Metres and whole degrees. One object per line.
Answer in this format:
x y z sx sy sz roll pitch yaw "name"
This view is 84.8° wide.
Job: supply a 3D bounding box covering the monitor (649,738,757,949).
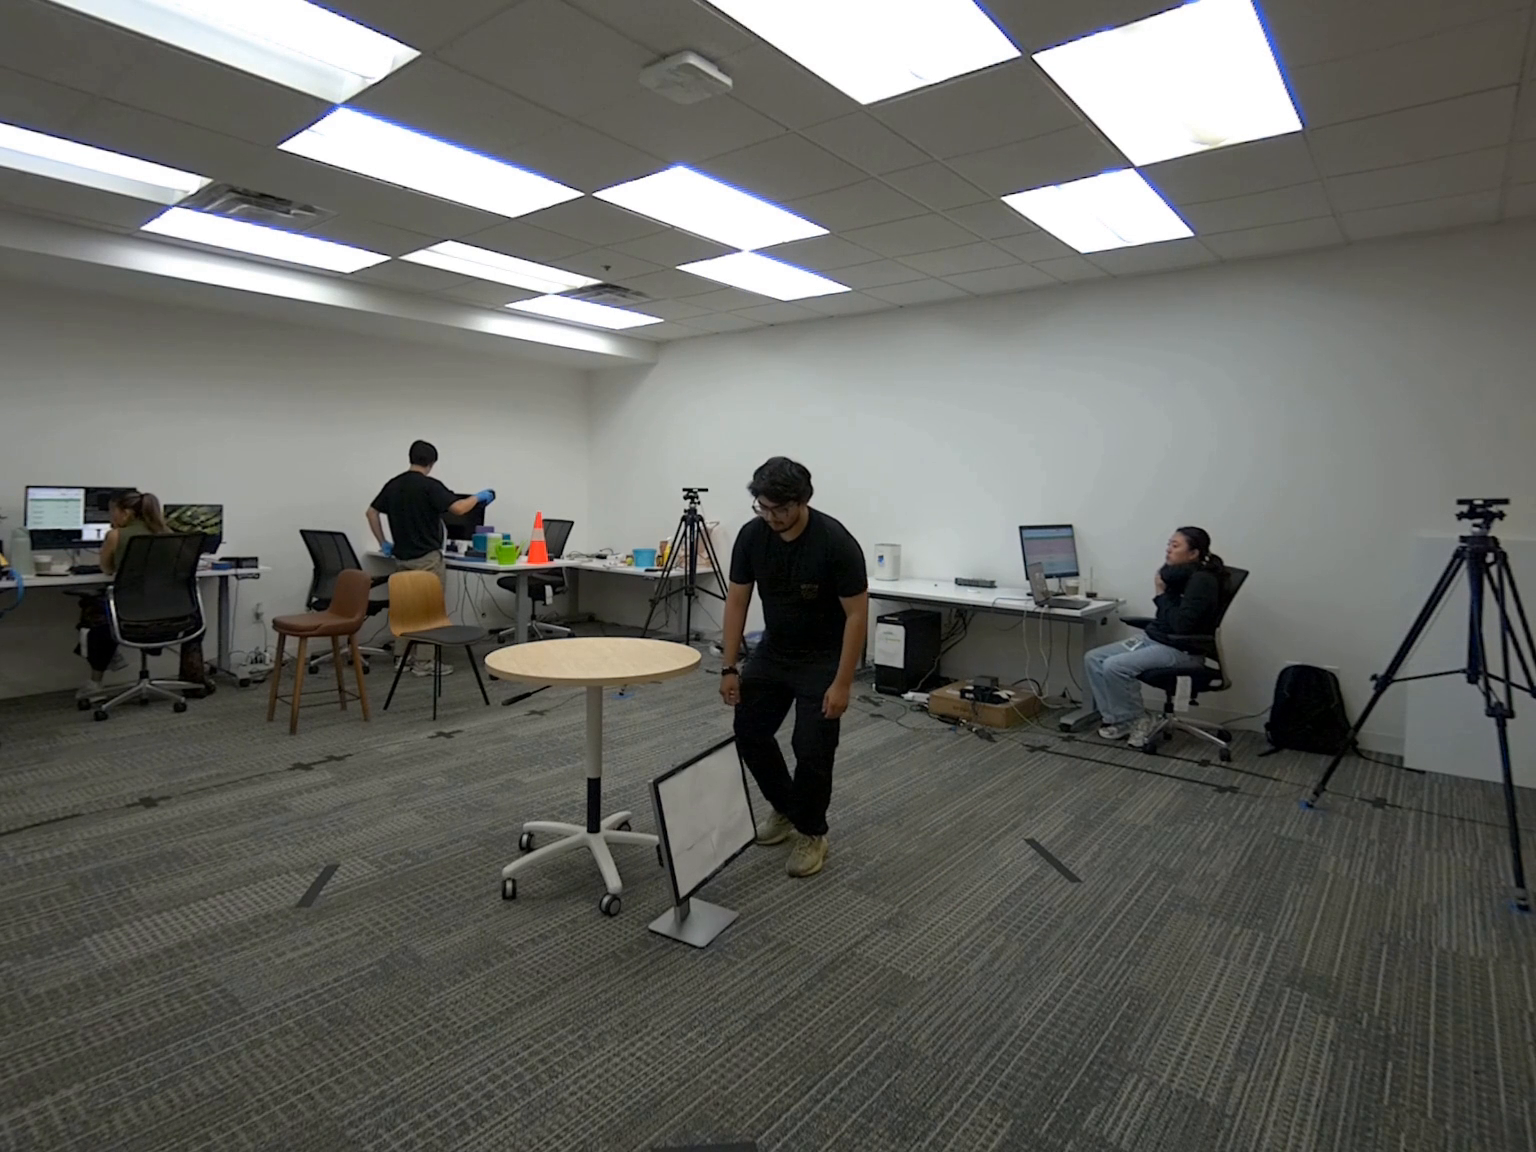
-0.257 0.842 2.711 0.215 0.554 0.552 -5 1 25 "monitor"
